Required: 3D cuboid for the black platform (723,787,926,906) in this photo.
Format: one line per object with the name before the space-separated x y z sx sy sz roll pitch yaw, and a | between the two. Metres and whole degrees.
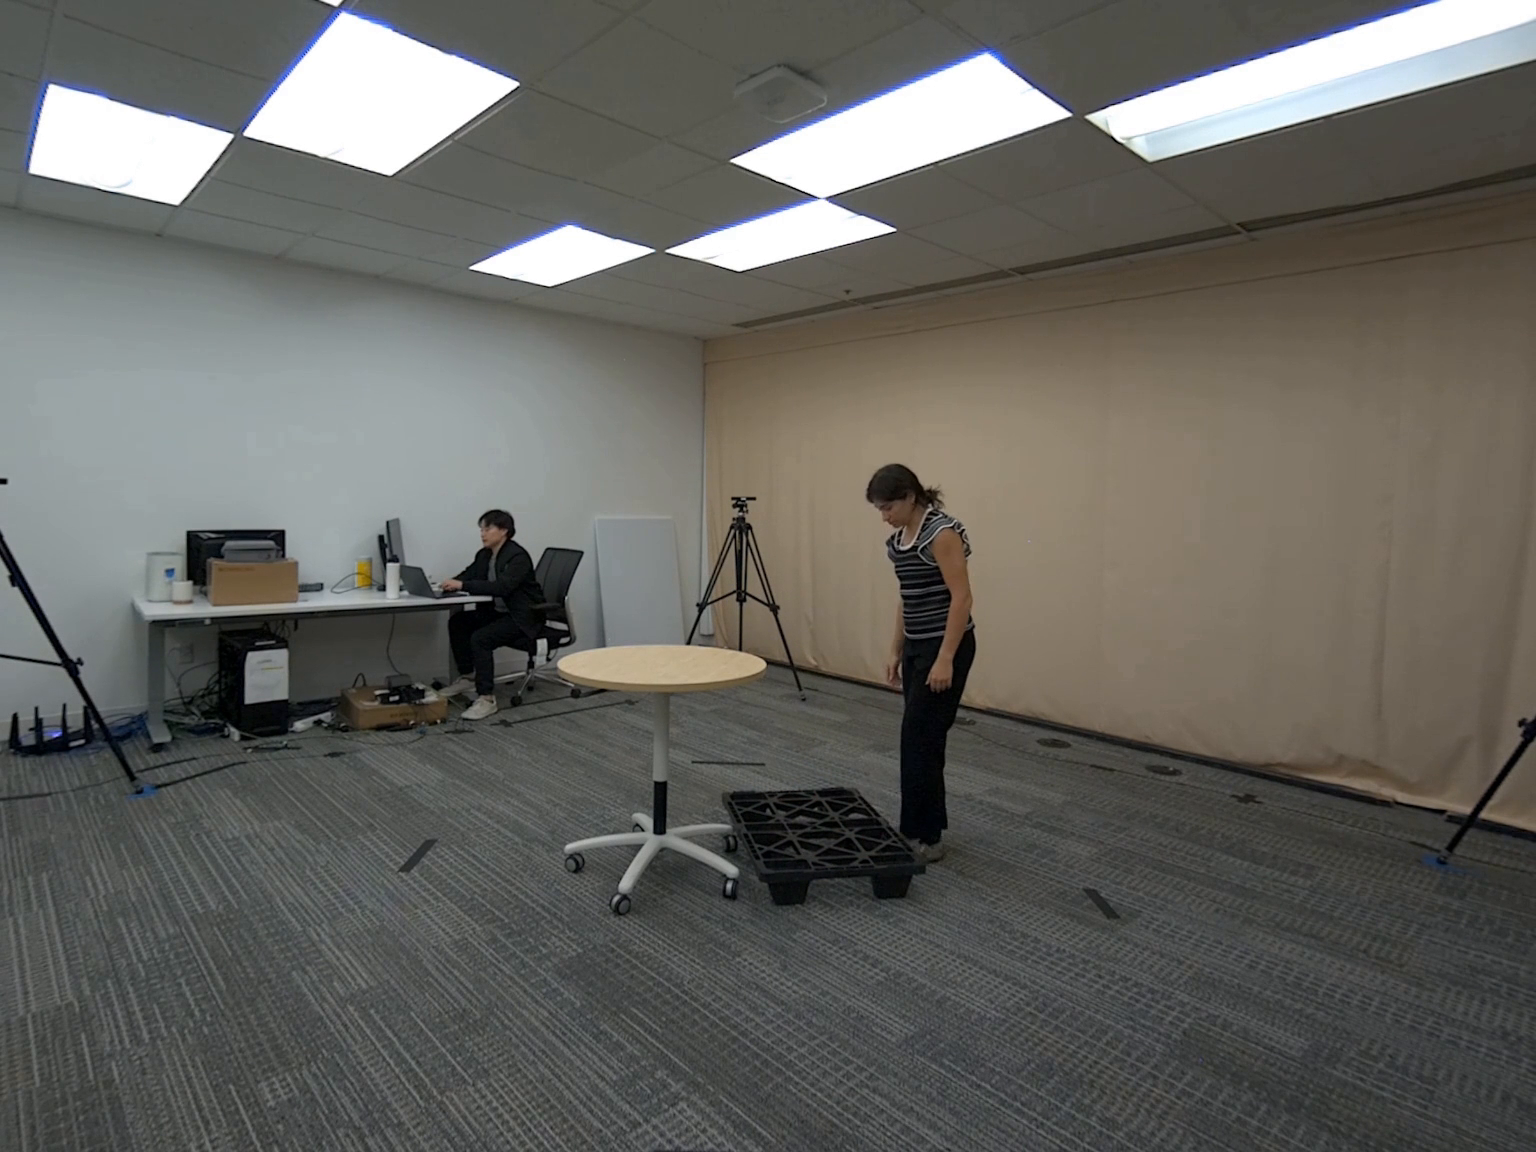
black platform | 0.166 1.032 3.268 0.600 0.143 0.815 0 5 -12
